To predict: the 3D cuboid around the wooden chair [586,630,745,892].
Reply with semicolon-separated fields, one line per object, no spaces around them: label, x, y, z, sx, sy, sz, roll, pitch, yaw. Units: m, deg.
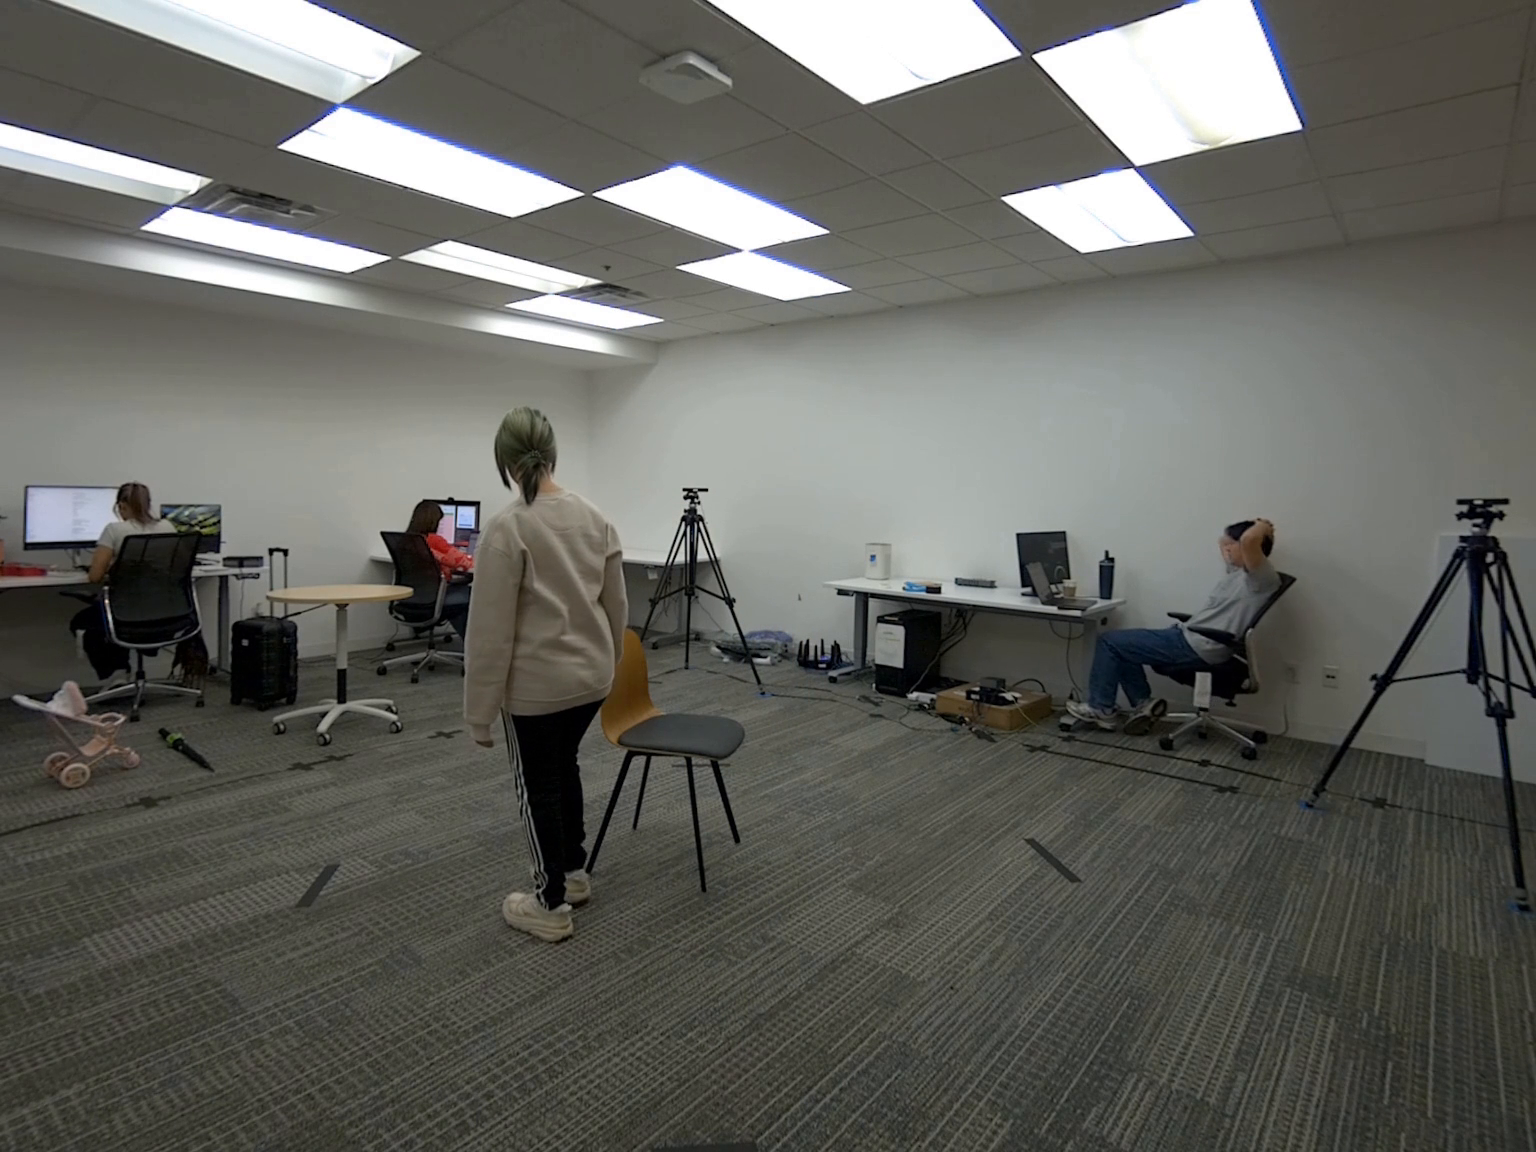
wooden chair;-0.373;0.632;3.178;0.532;0.876;0.471;-2;2;16
